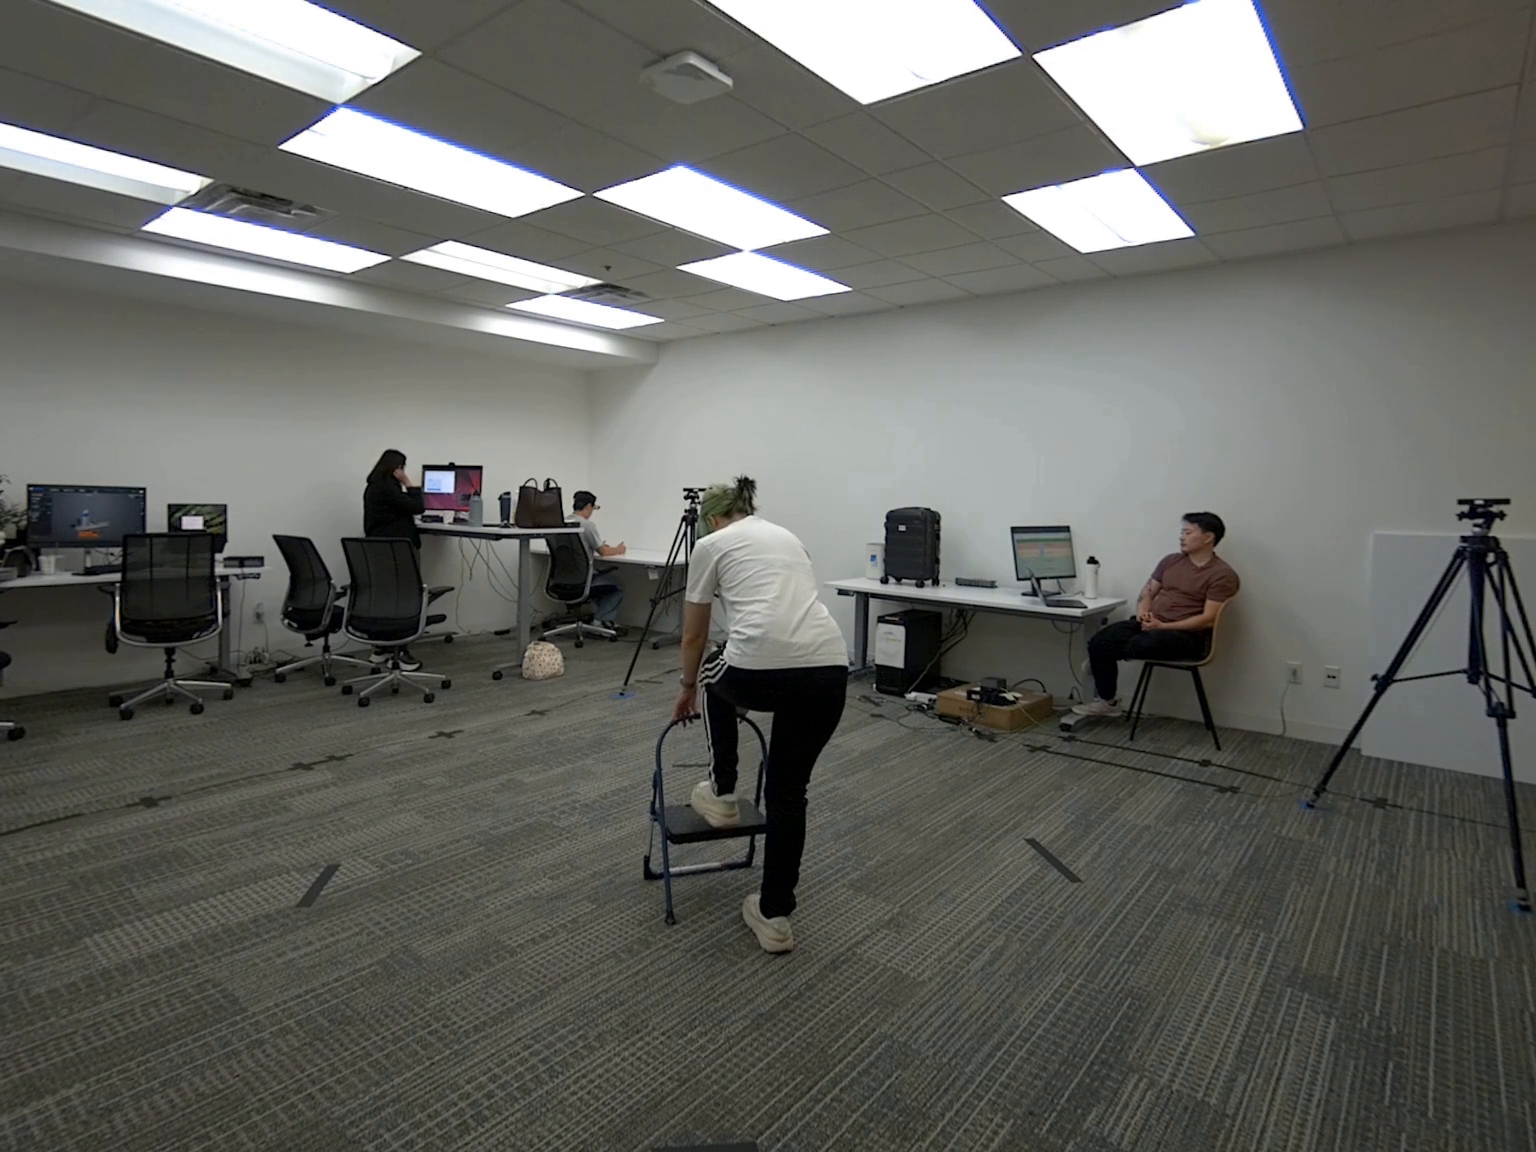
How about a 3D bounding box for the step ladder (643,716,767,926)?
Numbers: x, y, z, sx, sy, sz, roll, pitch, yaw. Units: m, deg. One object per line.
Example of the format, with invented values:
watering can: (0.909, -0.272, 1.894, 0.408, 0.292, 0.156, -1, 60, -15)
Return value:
step ladder: (-0.195, 0.786, 2.924, 0.422, 0.605, 0.357, 0, 3, -21)
